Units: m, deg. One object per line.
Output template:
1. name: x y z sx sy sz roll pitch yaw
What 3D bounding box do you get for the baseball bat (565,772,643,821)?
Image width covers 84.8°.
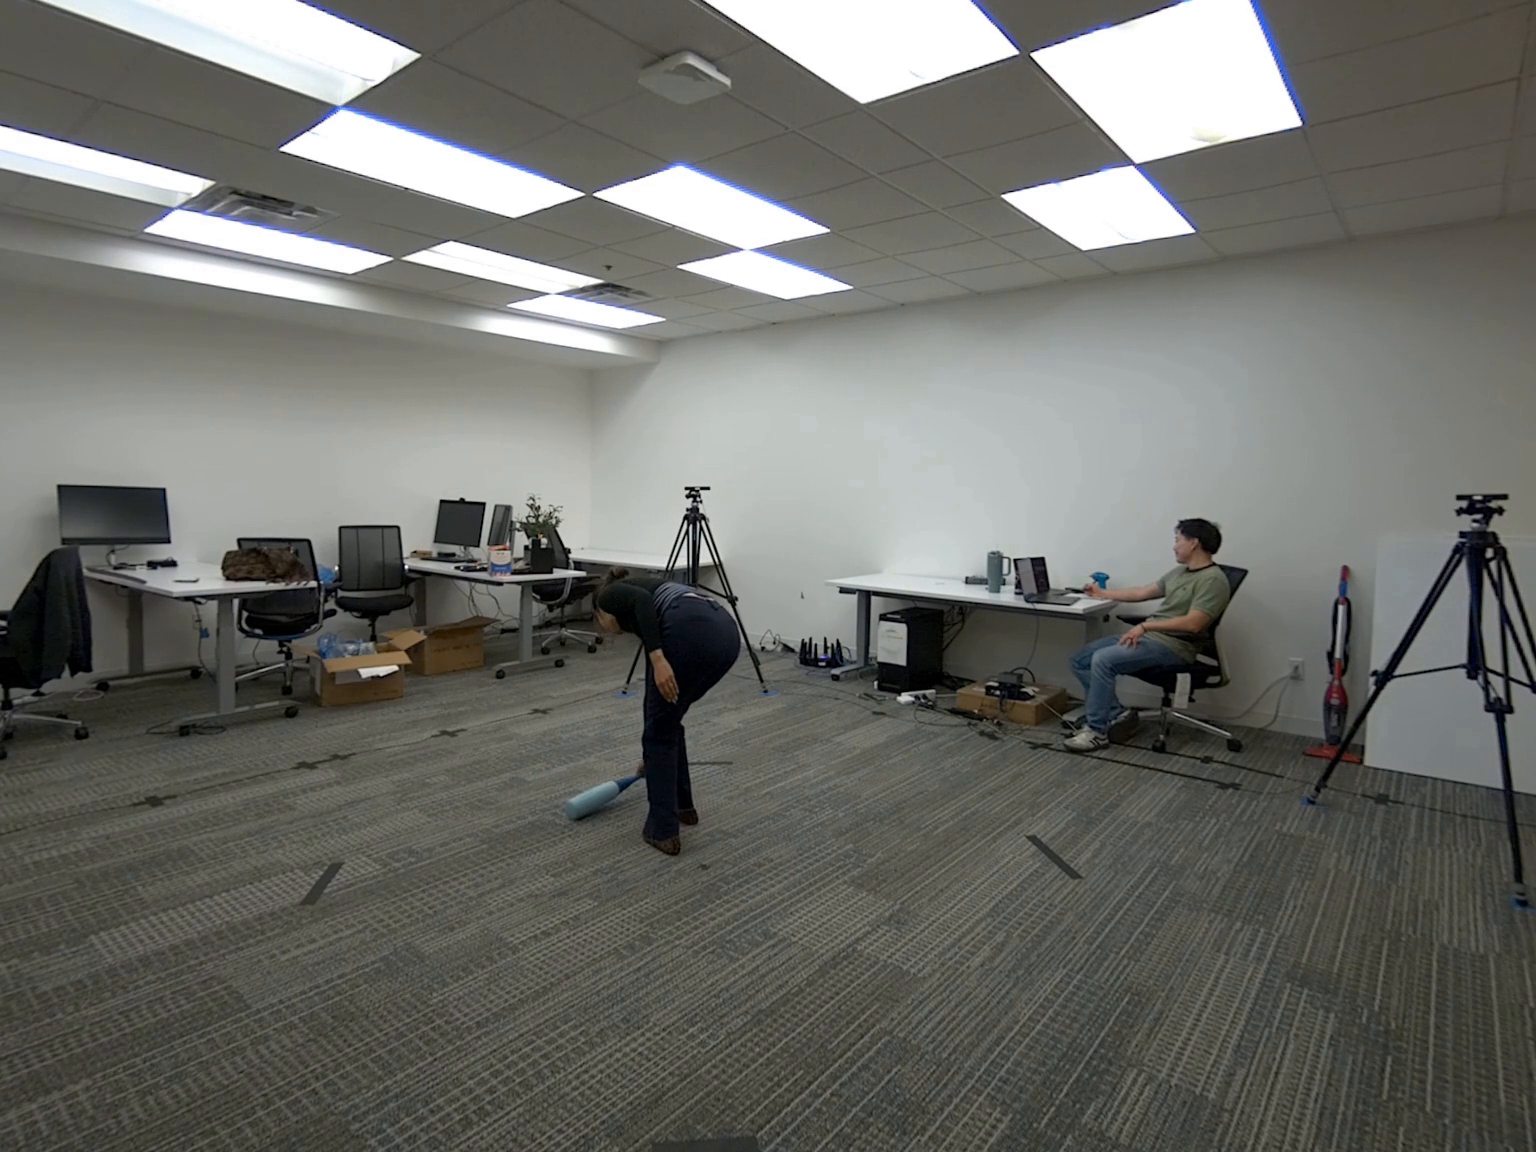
1. baseball bat: -0.680 0.924 3.737 0.092 0.088 0.530 4 12 38
